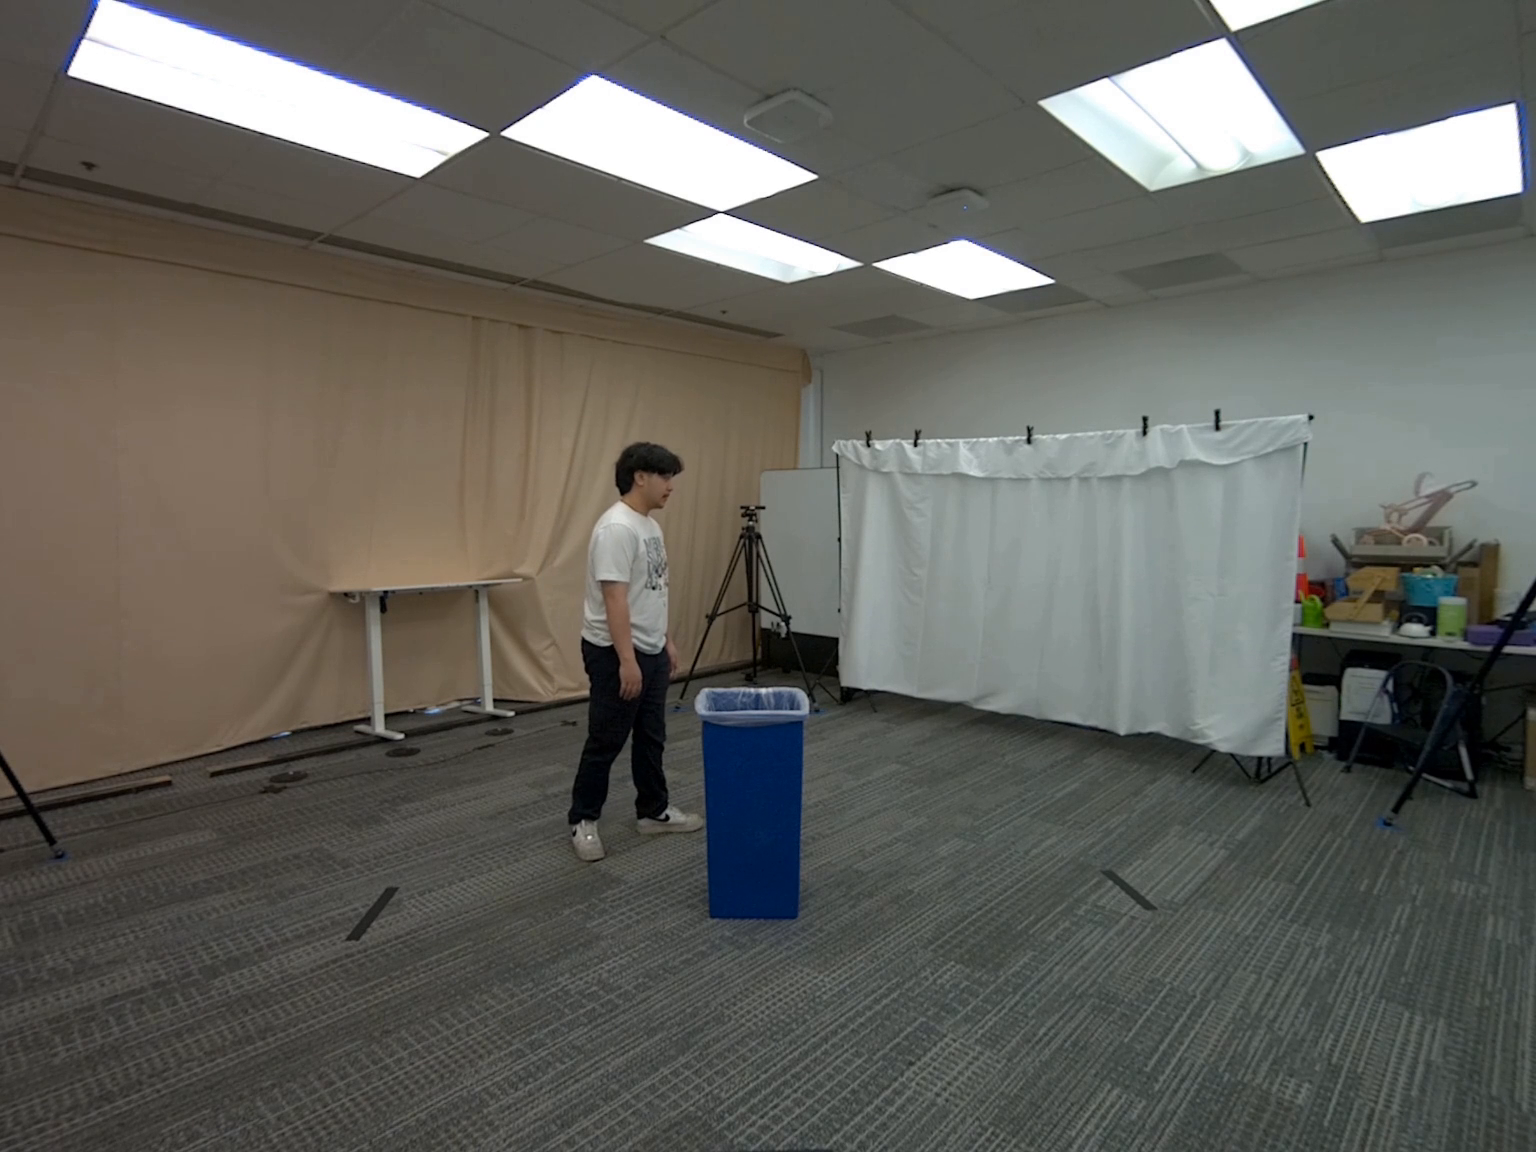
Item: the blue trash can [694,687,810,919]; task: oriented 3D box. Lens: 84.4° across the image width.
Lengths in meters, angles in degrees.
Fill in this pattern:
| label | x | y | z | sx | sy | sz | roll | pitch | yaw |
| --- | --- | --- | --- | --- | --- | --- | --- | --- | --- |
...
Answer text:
| label | x | y | z | sx | sy | sz | roll | pitch | yaw |
| --- | --- | --- | --- | --- | --- | --- | --- | --- | --- |
| blue trash can | -0.051 | 0.789 | 2.961 | 0.378 | 0.712 | 0.374 | 0 | 3 | 0 |
